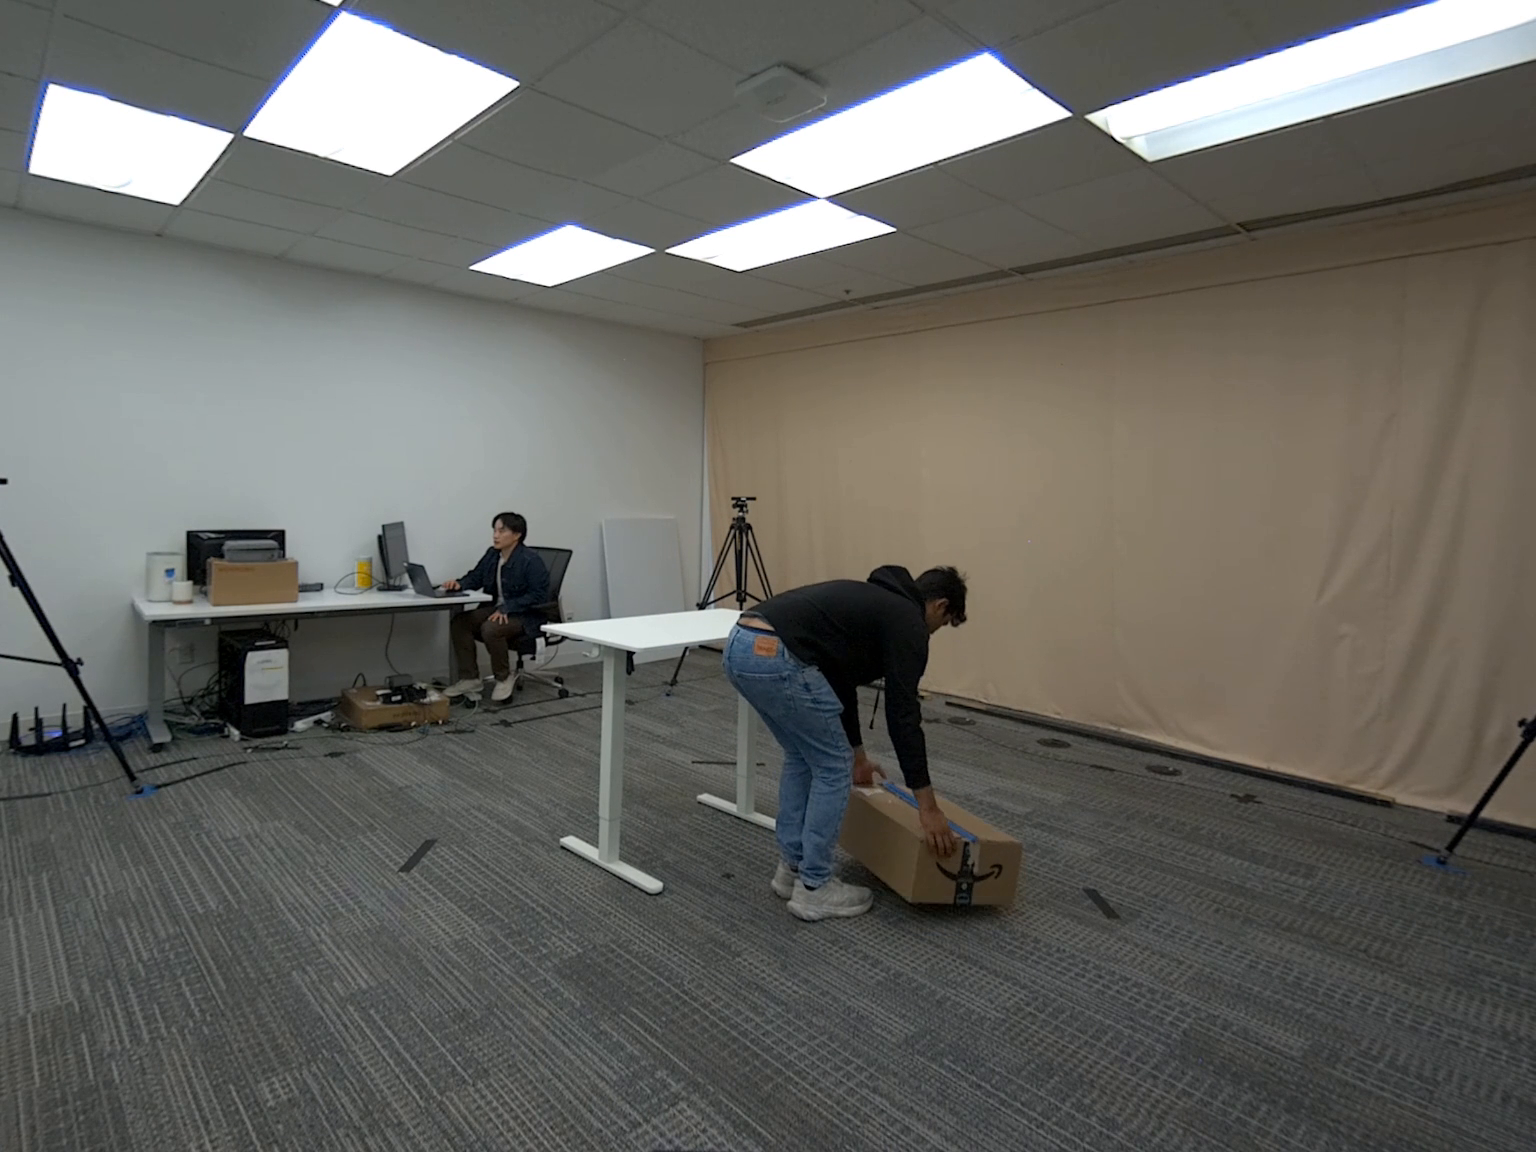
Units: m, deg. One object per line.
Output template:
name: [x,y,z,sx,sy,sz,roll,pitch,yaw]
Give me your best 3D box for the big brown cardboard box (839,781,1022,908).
big brown cardboard box: [0.550,0.935,3.044,0.410,0.233,0.600,8,2,-23]
